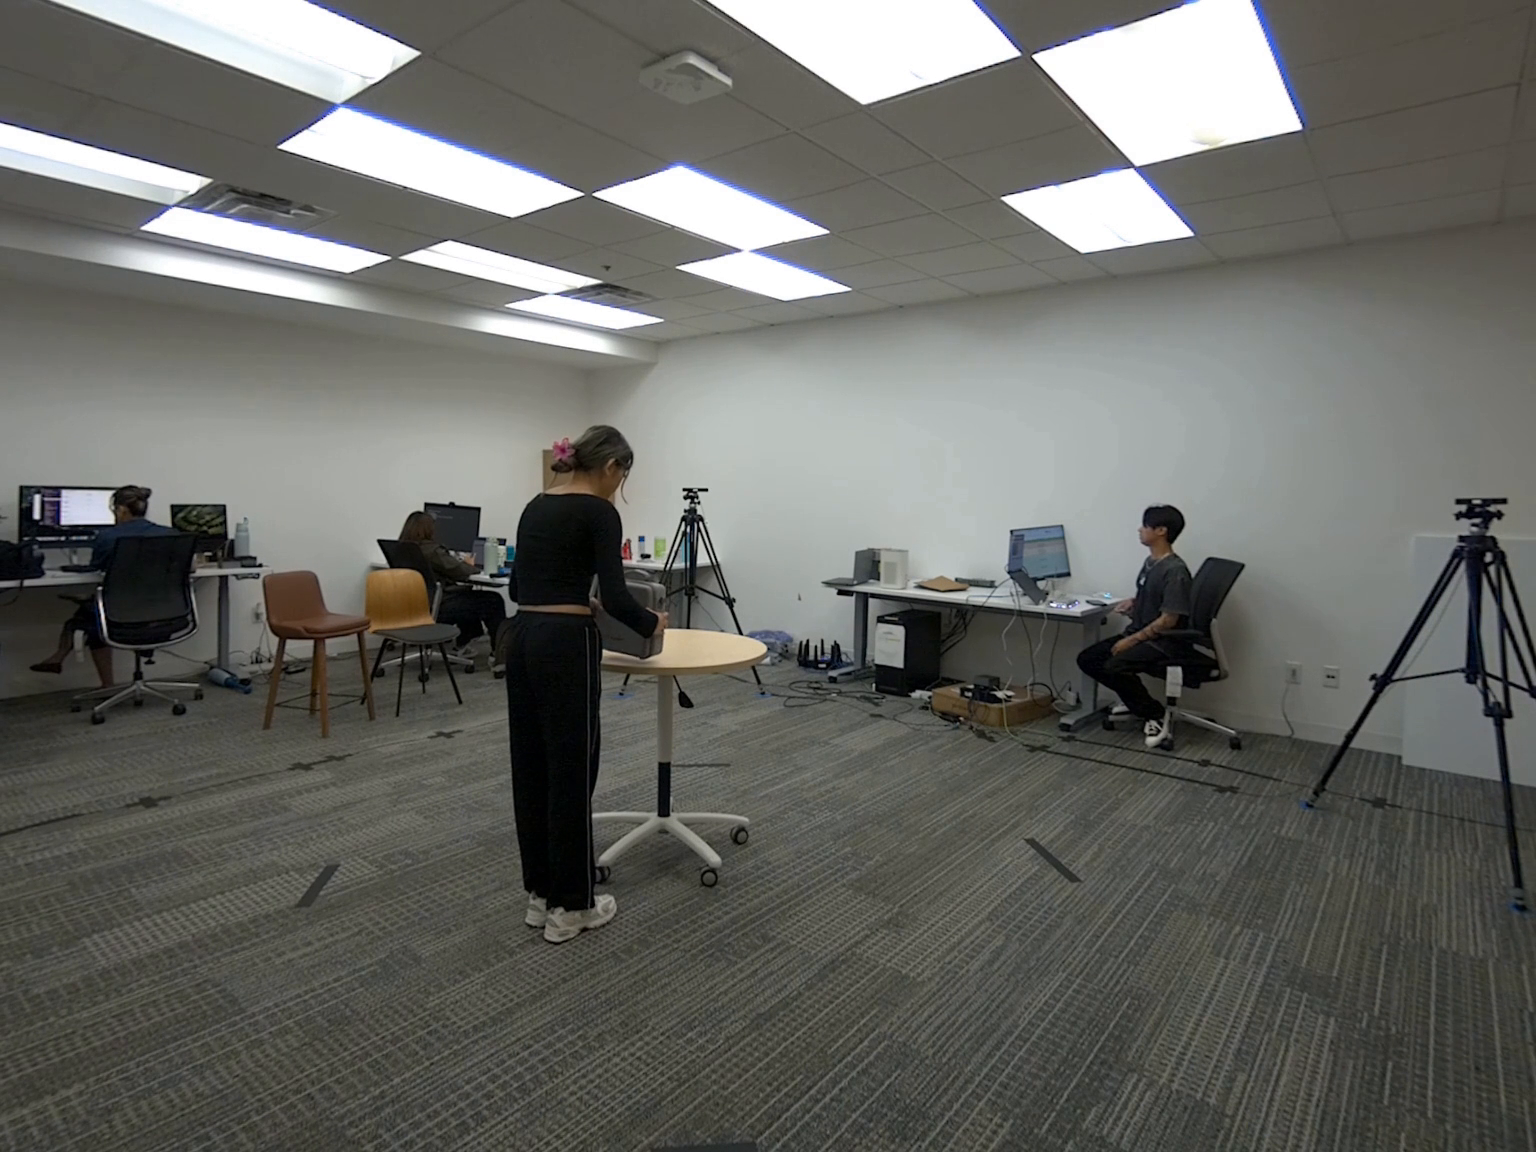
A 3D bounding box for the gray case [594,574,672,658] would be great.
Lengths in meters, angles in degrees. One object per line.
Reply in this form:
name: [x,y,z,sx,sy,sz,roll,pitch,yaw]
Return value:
gray case: [-0.484,0.132,2.957,0.265,0.260,0.101,5,1,34]
